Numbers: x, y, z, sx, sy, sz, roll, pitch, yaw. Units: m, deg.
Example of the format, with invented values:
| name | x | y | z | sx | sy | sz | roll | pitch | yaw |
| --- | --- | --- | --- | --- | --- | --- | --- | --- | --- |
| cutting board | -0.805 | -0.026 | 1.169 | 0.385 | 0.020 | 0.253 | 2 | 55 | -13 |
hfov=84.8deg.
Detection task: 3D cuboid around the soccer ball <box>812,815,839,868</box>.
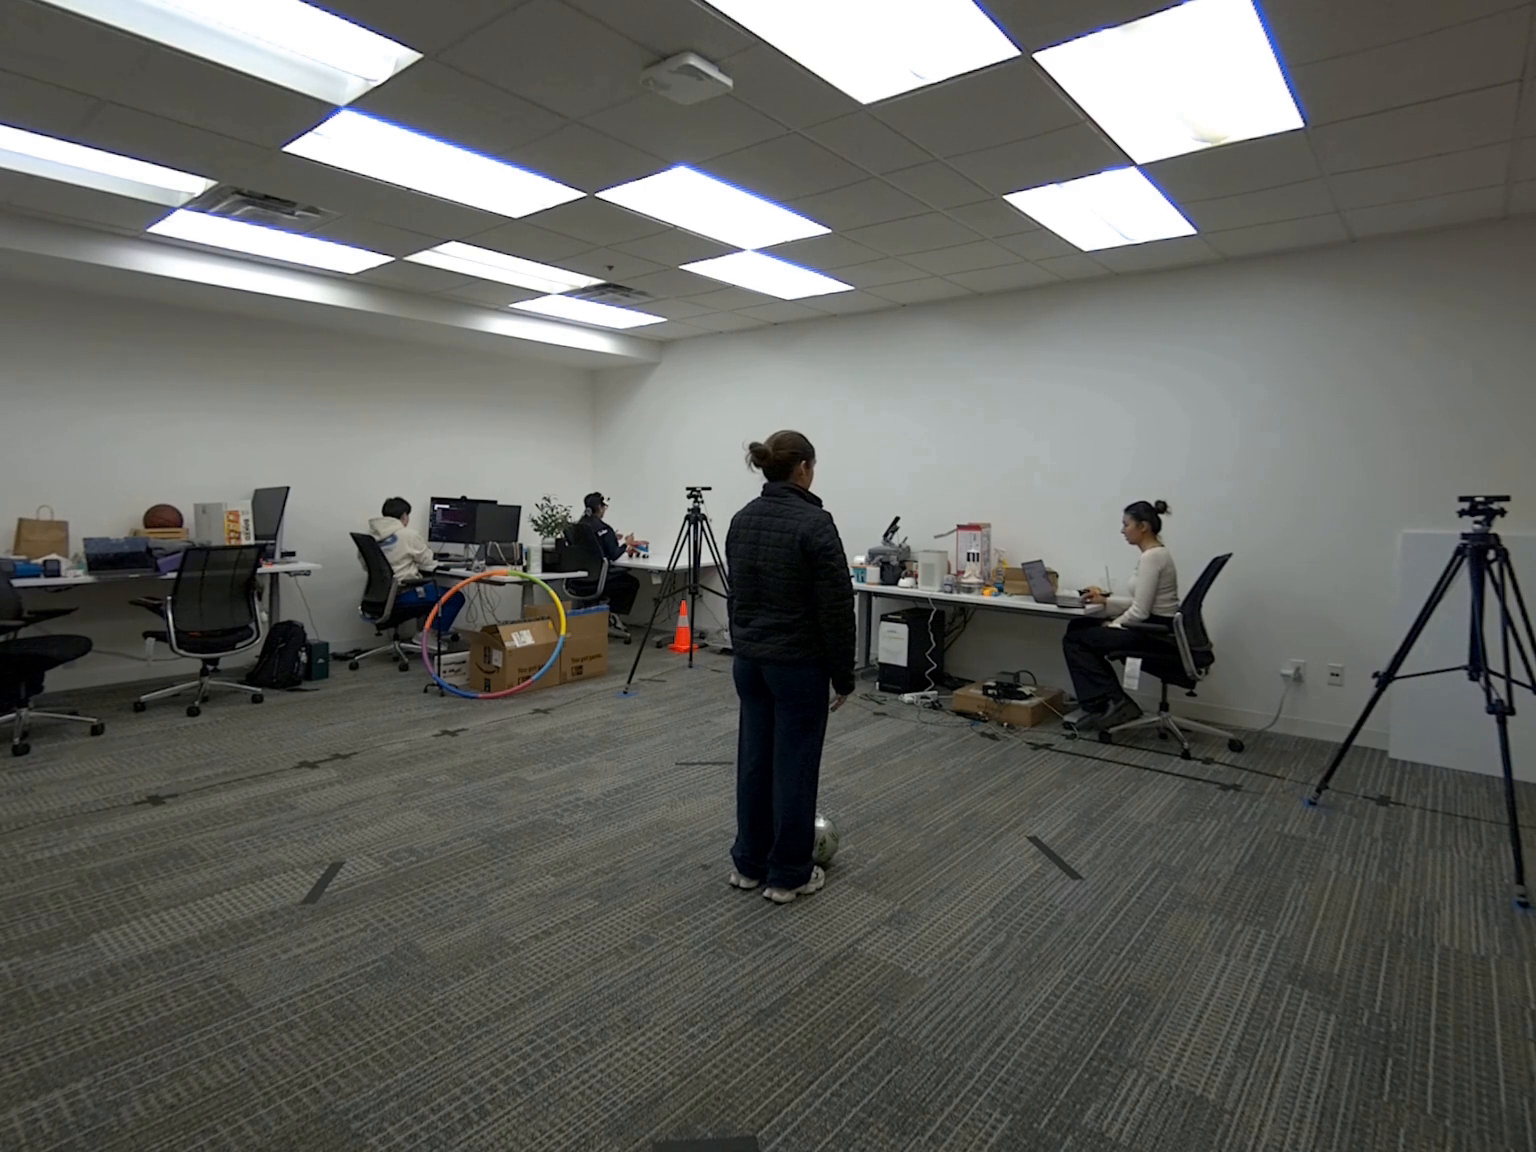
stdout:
| name | x | y | z | sx | sy | sz | roll | pitch | yaw |
| --- | --- | --- | --- | --- | --- | --- | --- | --- | --- |
| soccer ball | 0.171 | 0.974 | 3.163 | 0.187 | 0.187 | 0.188 | 1 | 4 | -2 |
